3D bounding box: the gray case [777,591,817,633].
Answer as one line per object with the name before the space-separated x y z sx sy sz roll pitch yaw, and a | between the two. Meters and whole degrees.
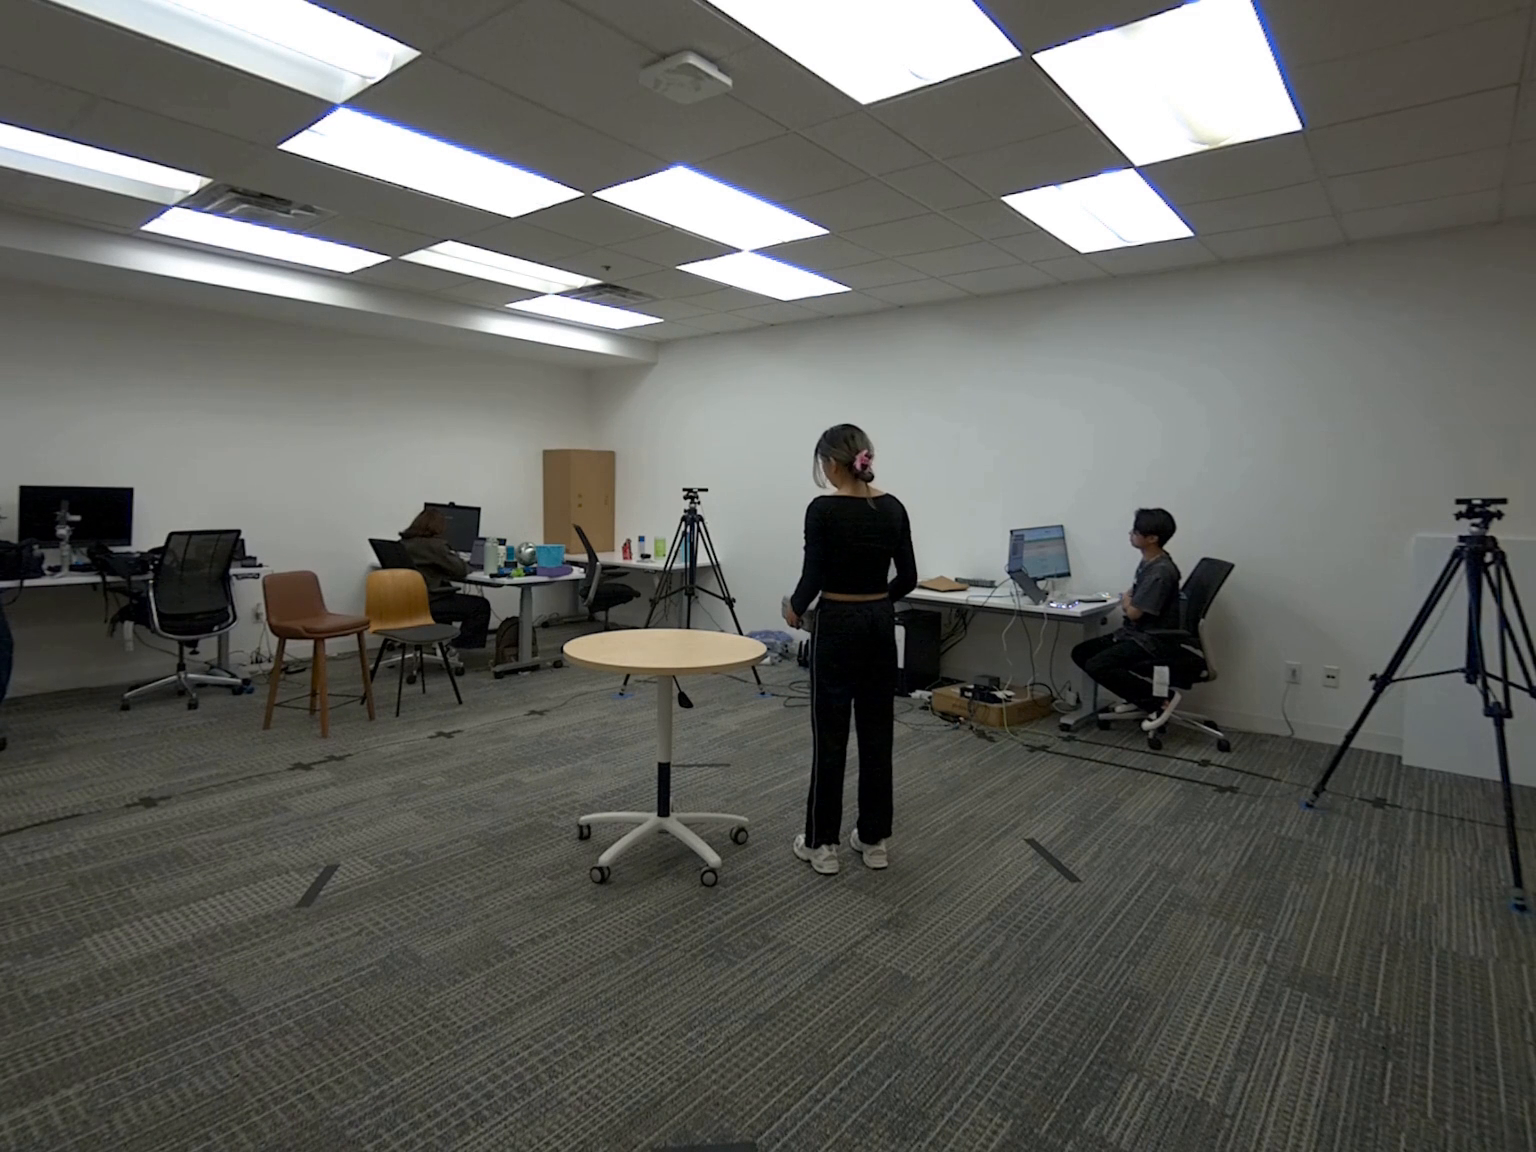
gray case | 0.206 0.140 3.422 0.252 0.103 0.268 0 12 -17
